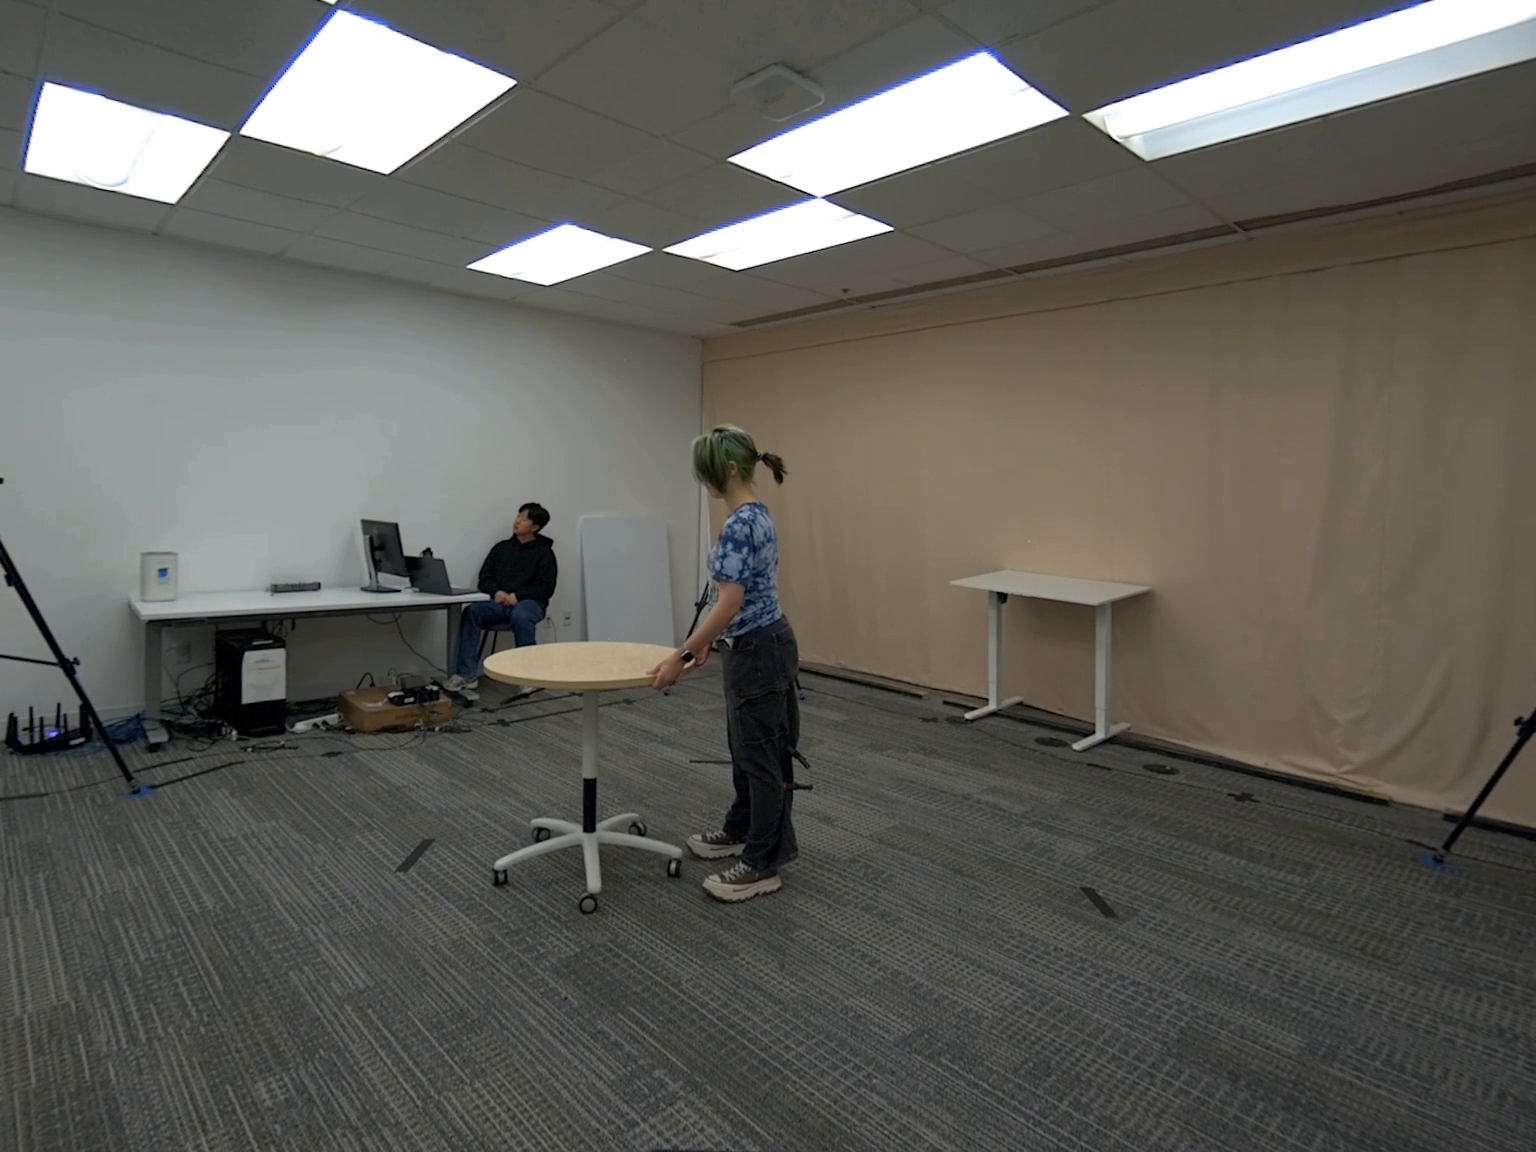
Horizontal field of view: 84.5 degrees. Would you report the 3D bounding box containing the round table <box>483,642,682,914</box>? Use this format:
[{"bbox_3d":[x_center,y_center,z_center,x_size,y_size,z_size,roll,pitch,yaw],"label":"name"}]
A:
[{"bbox_3d":[-0.667,0.701,3.115,0.763,0.792,0.766,1,4,-1],"label":"round table"}]
